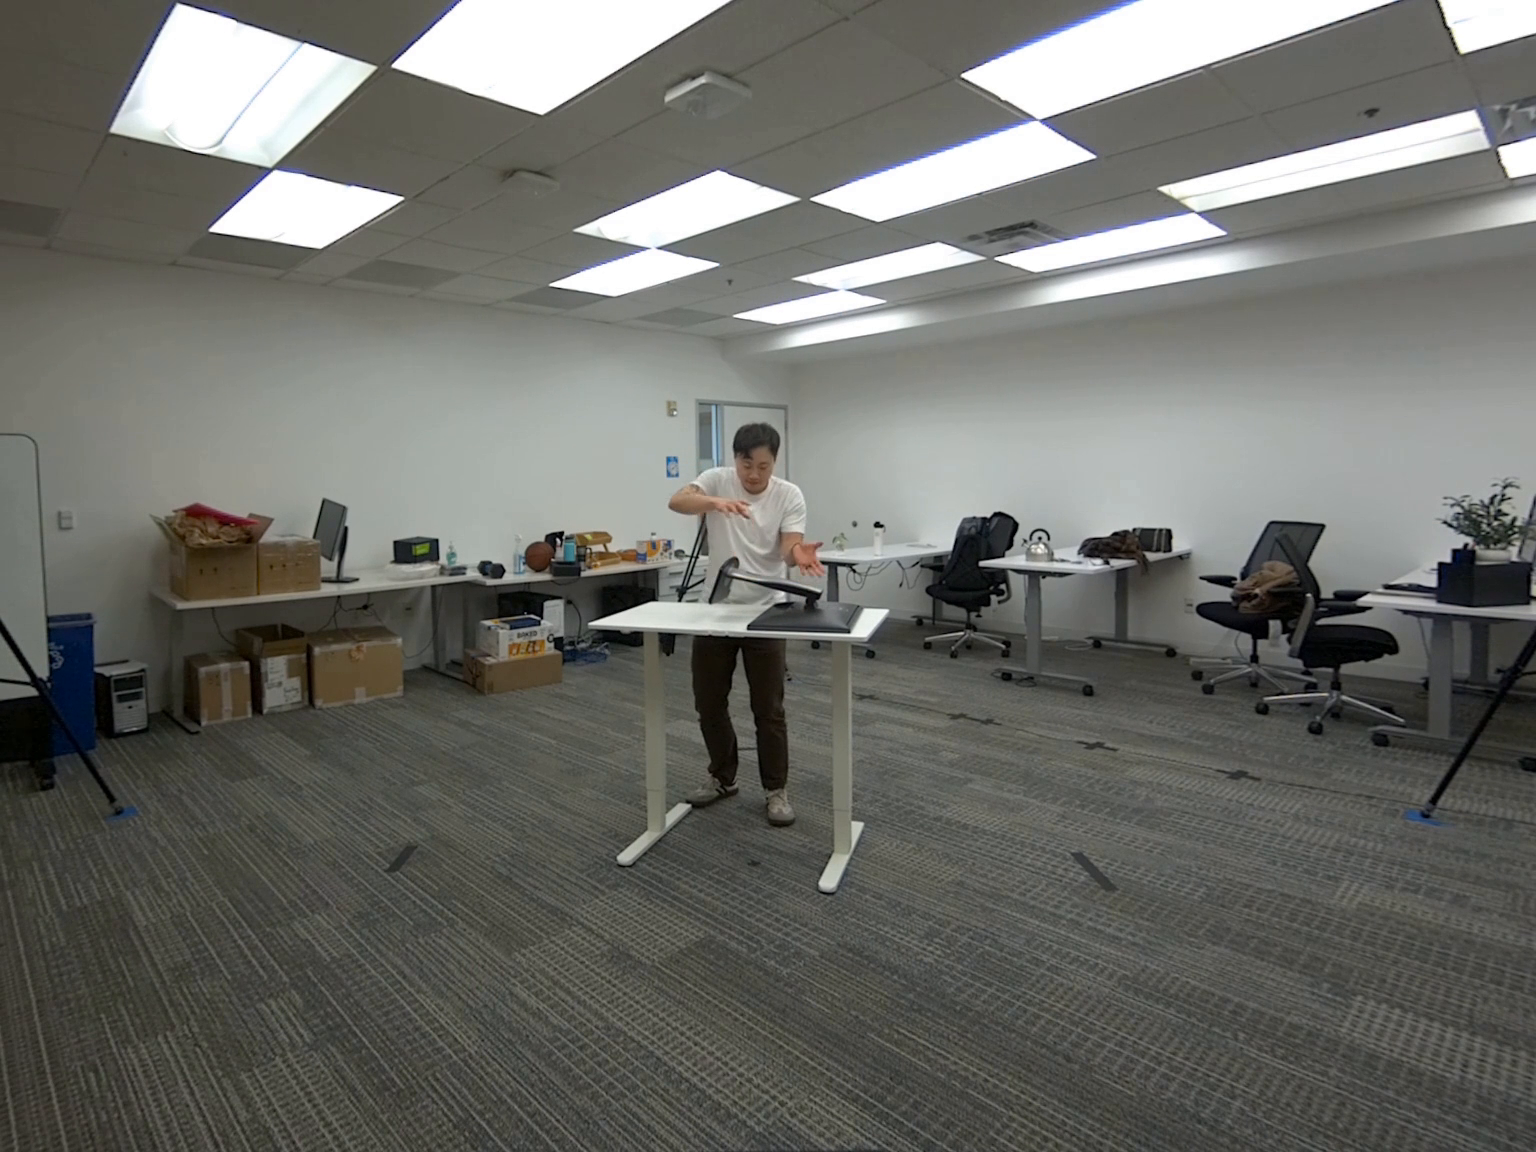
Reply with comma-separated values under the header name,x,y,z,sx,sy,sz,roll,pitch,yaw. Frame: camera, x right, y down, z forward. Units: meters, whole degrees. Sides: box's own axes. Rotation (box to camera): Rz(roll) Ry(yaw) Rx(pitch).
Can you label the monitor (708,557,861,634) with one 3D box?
name,x,y,z,sx,sy,sz,roll,pitch,yaw
monitor,0.070,0.096,3.145,0.531,0.186,0.534,19,11,11
